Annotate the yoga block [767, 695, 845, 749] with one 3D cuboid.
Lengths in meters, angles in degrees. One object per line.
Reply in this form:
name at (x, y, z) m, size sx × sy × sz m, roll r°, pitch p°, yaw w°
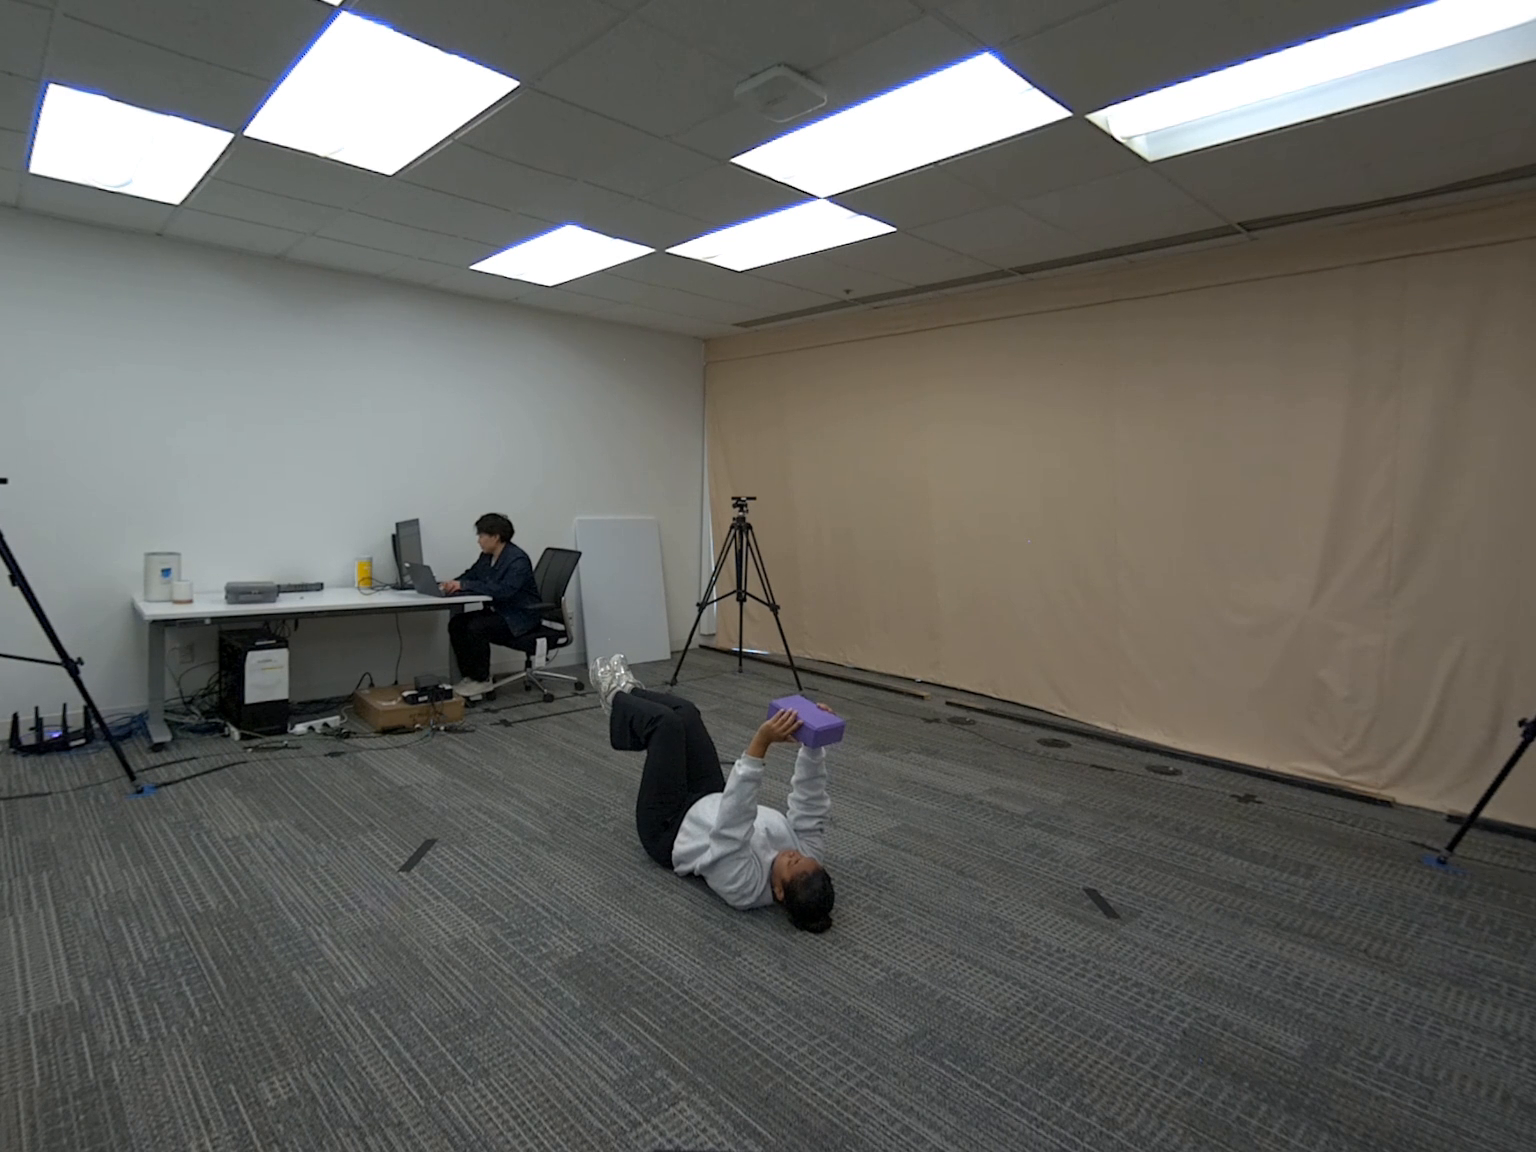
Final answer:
yoga block at (0.126, 0.488, 2.807) m, size 0.236 × 0.076 × 0.146 m, roll 22°, pitch 19°, yaw 39°
